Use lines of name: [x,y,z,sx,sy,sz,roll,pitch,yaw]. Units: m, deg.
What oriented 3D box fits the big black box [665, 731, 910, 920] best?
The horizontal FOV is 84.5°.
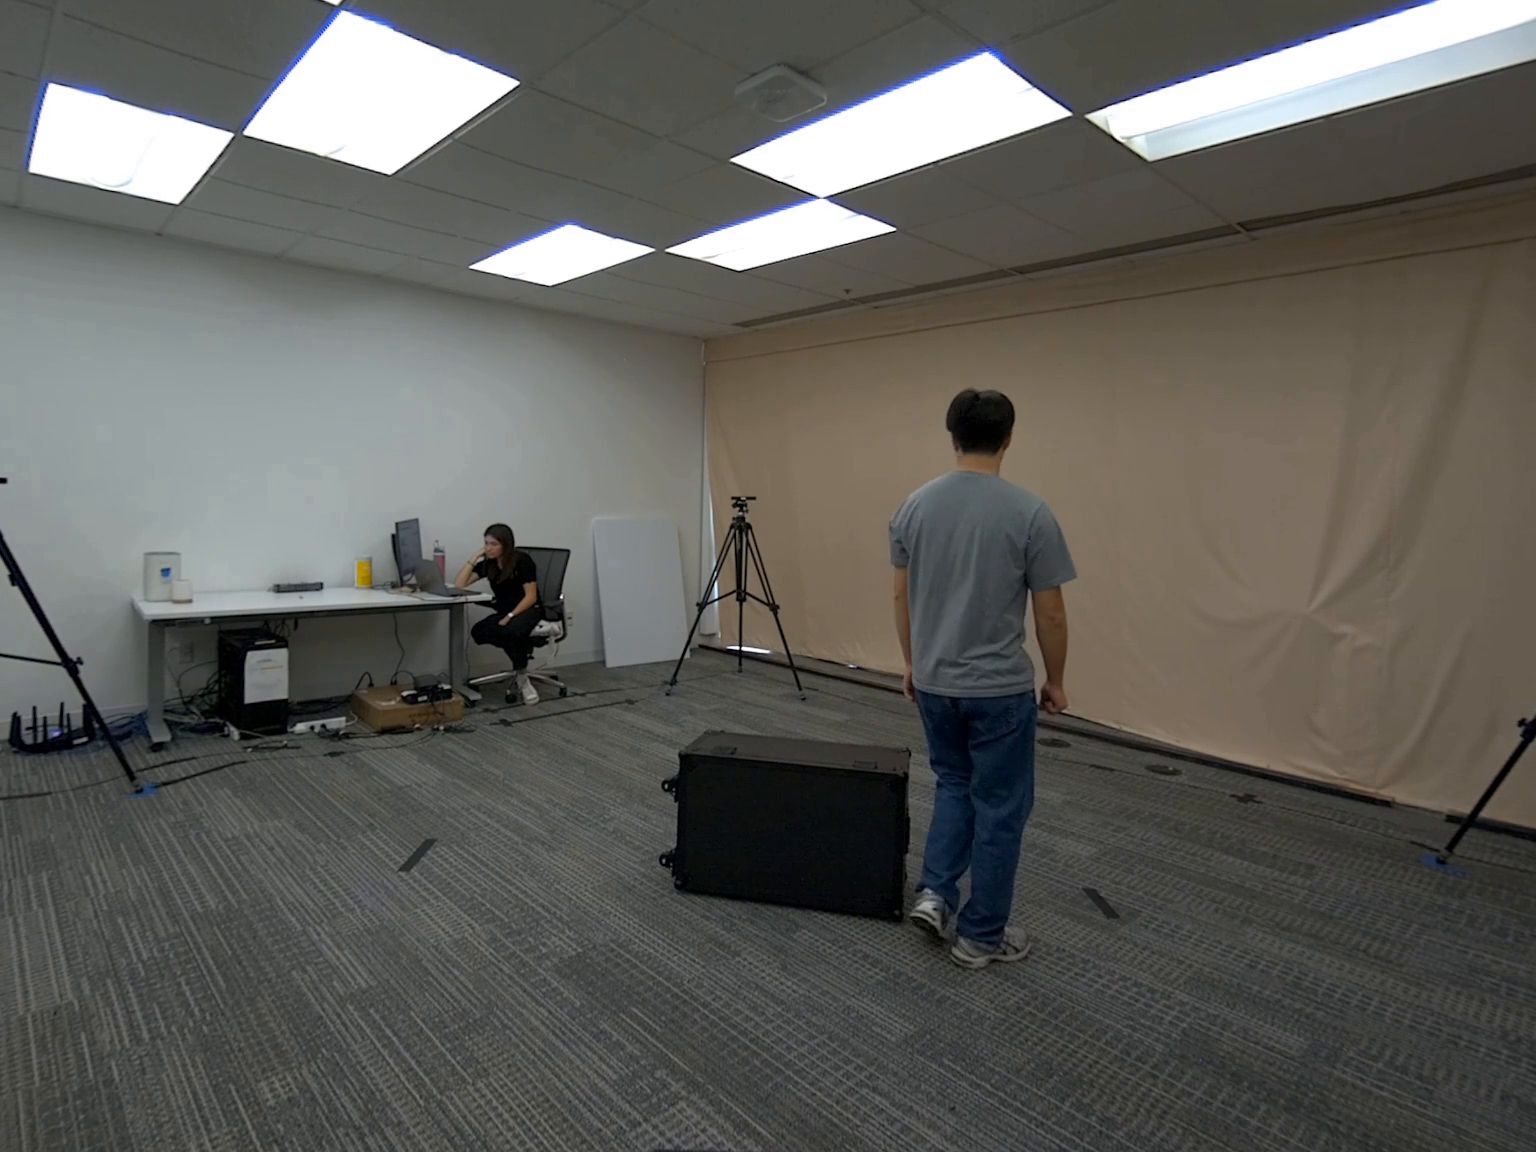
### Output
big black box: [0.124,0.867,3.028,0.872,0.520,0.392,3,2,14]
